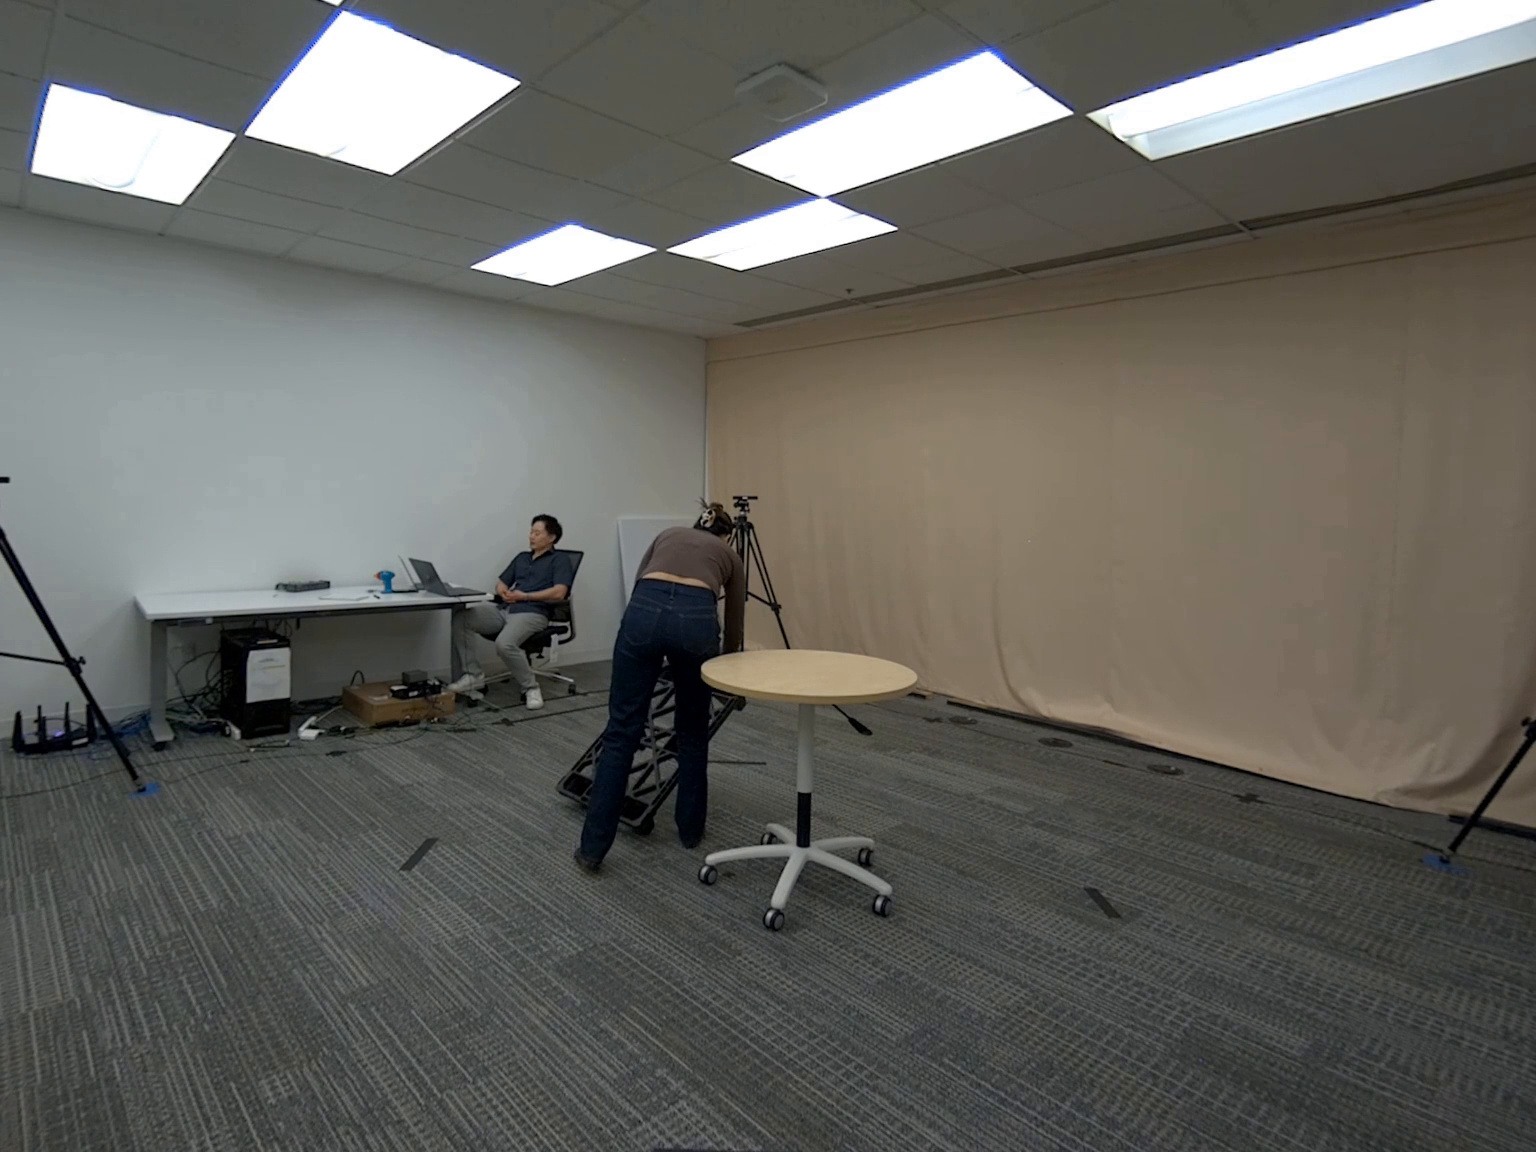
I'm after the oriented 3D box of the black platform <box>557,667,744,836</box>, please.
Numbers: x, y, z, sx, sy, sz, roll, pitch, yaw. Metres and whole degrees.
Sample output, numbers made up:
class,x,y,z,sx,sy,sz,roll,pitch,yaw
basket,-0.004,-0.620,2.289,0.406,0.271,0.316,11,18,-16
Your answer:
class,x,y,z,sx,sy,sz,roll,pitch,yaw
black platform,-0.501,0.752,3.774,0.620,0.139,0.807,5,45,43
